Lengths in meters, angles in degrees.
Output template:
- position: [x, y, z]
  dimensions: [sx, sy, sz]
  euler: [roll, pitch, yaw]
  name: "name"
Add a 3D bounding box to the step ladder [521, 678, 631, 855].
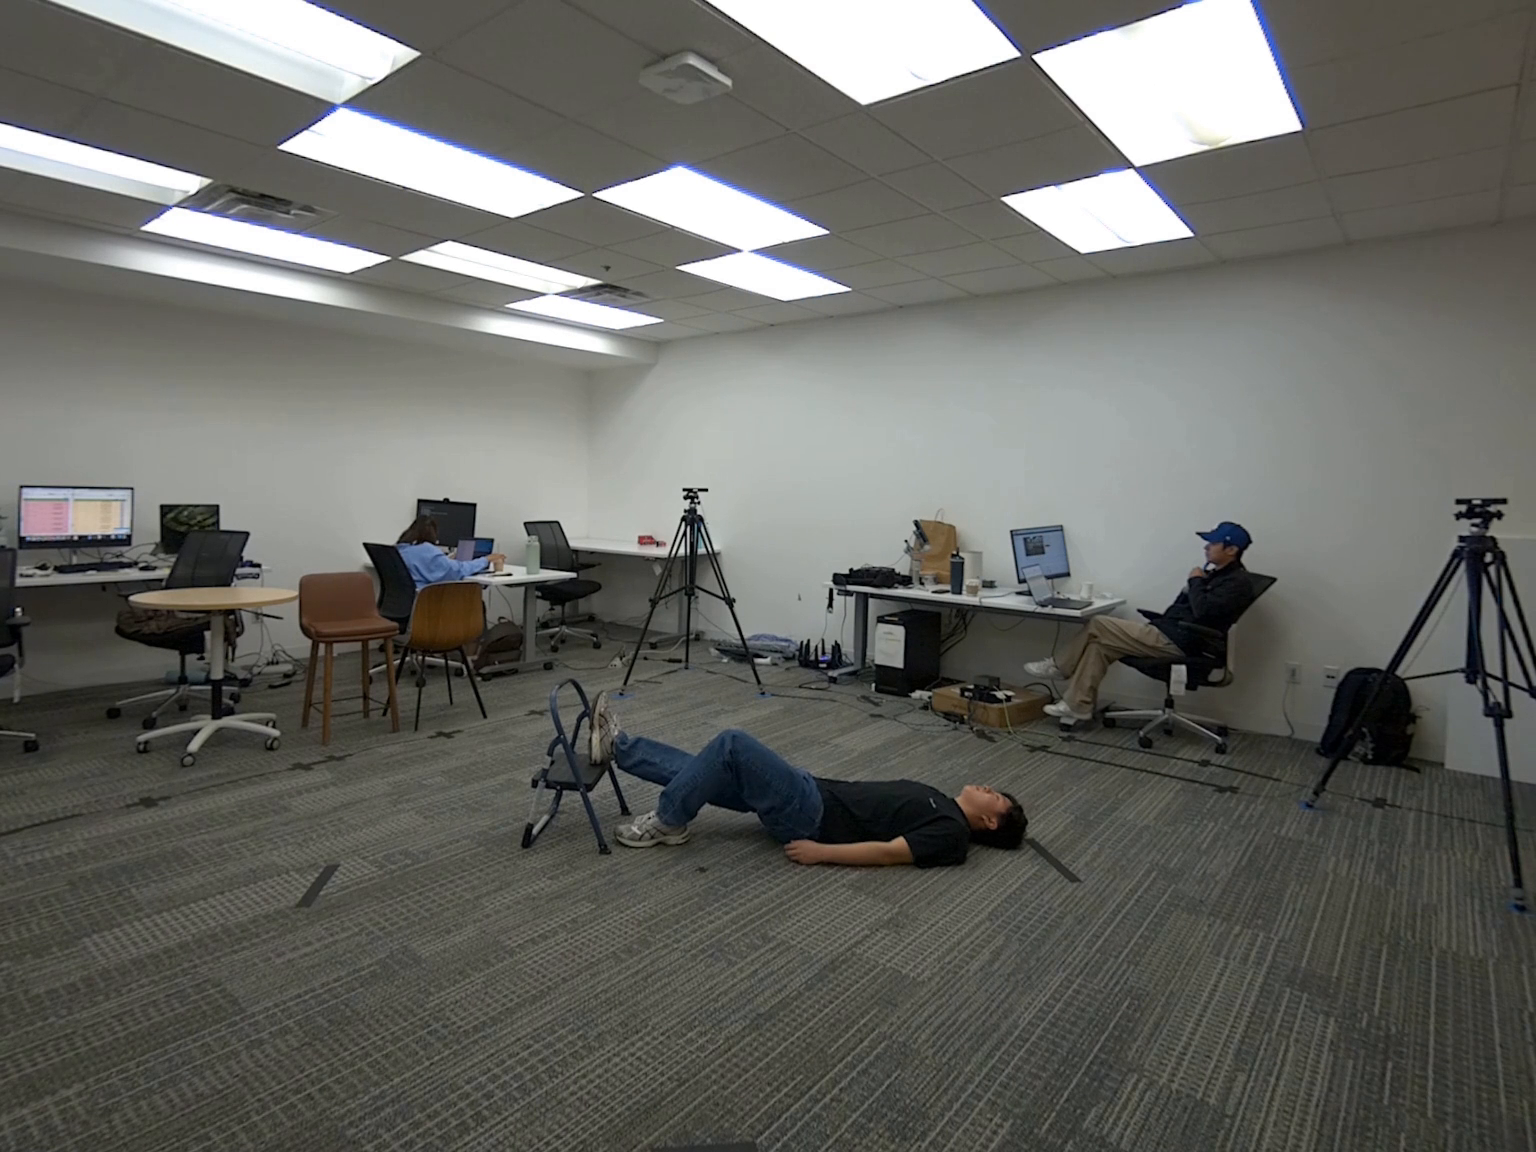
- position: [-0.774, 0.729, 3.434]
  dimensions: [0.350, 0.604, 0.430]
  euler: [2, 3, 2]
  name: "step ladder"
